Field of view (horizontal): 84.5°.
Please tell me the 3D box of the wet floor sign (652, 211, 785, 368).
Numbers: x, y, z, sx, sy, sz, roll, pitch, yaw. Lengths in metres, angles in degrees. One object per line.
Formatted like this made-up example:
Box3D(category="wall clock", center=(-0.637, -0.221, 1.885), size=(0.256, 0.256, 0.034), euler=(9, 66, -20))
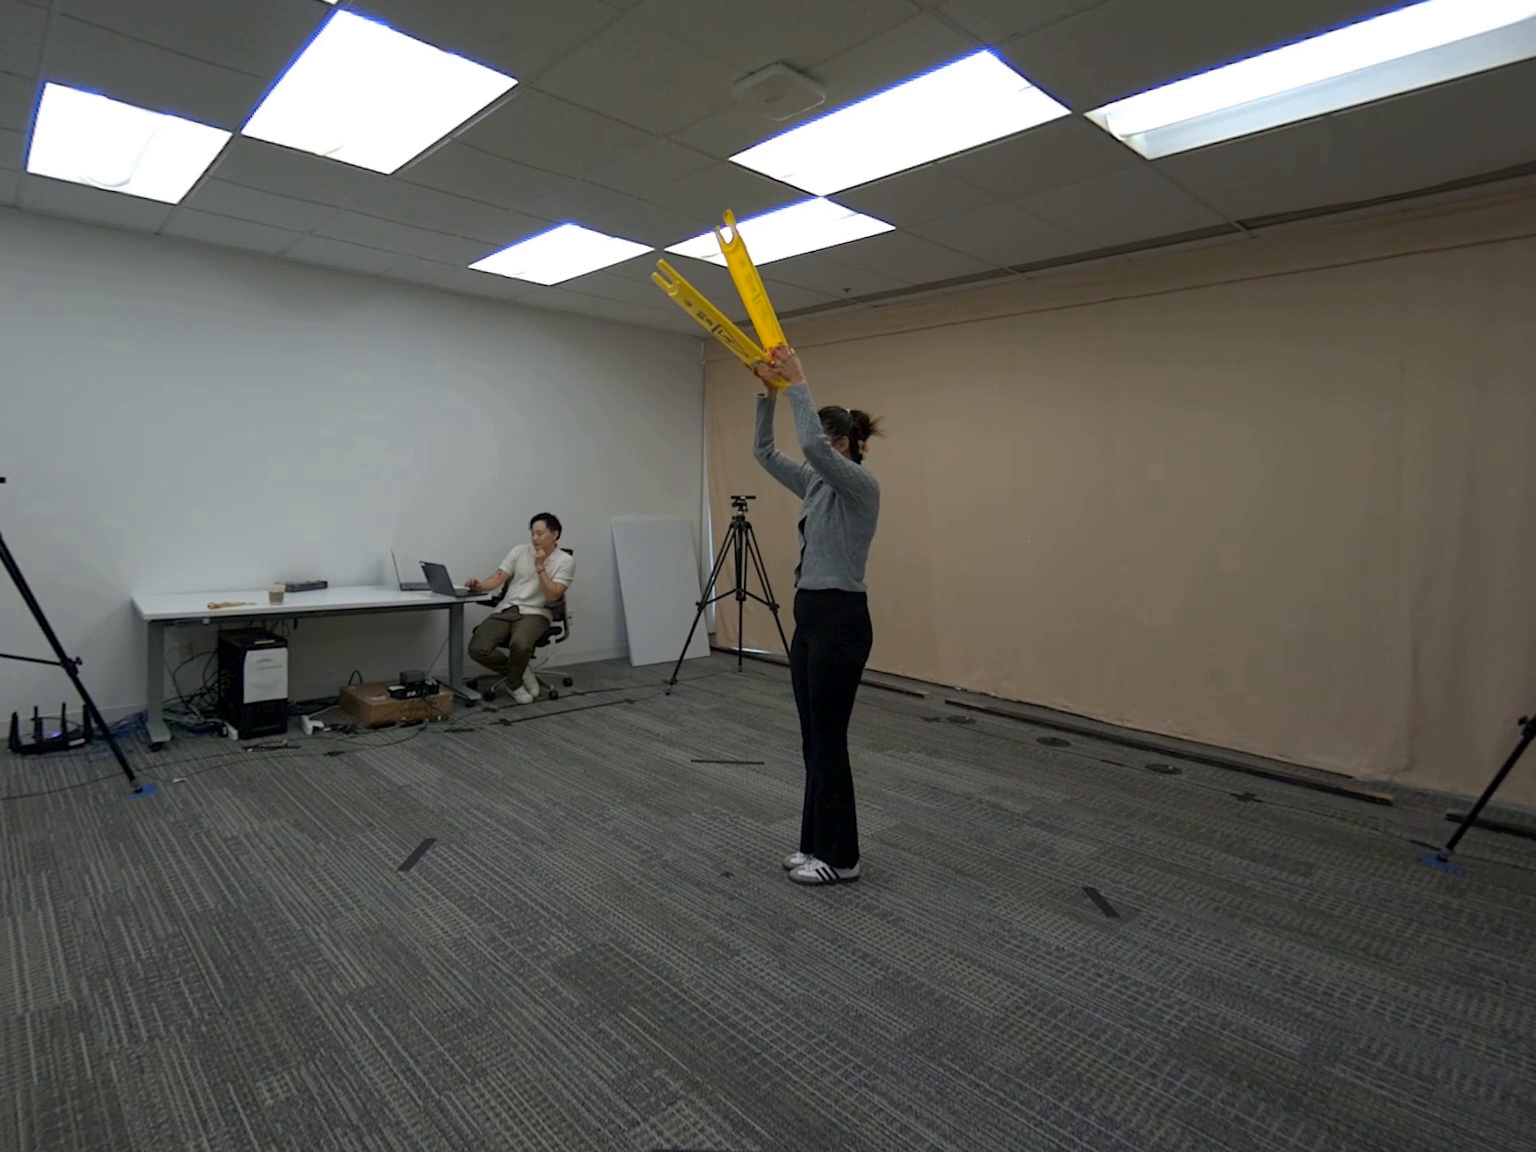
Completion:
Box3D(category="wet floor sign", center=(-0.093, -0.895, 2.955), size=(0.289, 0.638, 0.286), euler=(-39, 12, -5))
